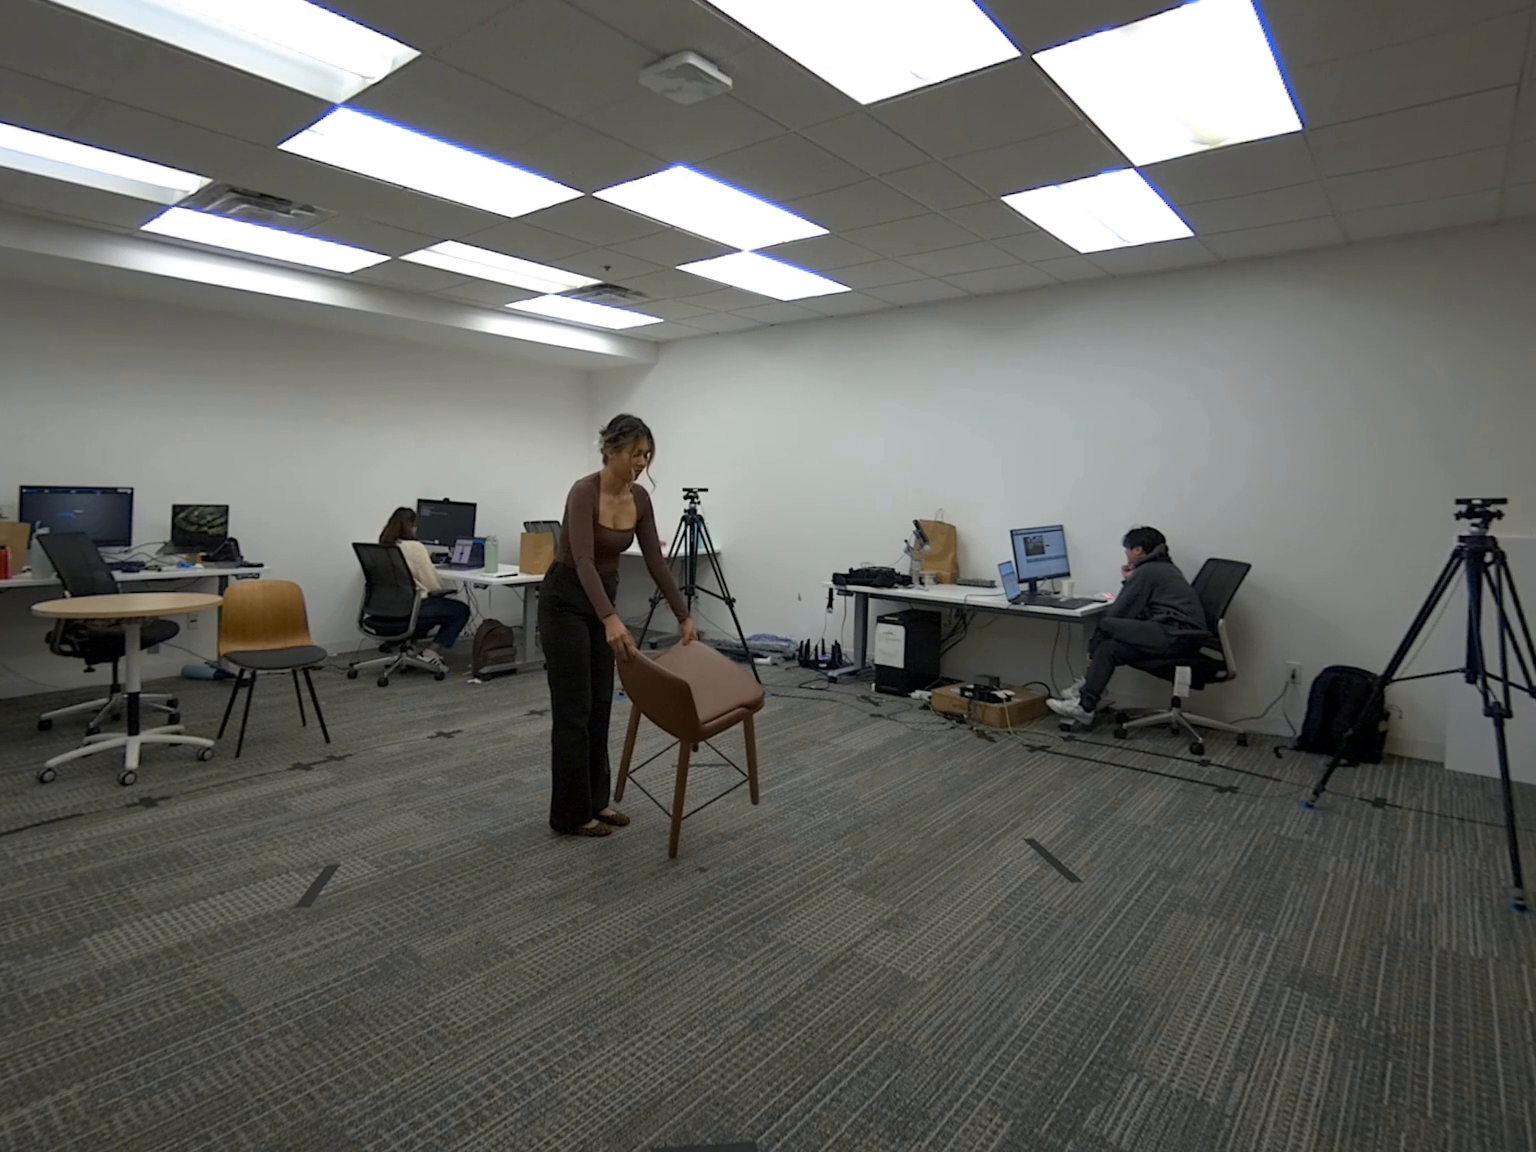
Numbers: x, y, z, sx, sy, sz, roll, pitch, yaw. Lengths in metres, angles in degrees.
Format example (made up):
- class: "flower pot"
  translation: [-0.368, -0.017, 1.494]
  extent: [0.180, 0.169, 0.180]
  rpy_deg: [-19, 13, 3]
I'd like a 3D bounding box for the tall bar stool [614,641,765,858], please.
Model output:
- class: "tall bar stool"
  translation: [-0.315, 0.544, 3.221]
  extent: [0.460, 0.868, 0.476]
  rpy_deg: [-24, 40, -36]
